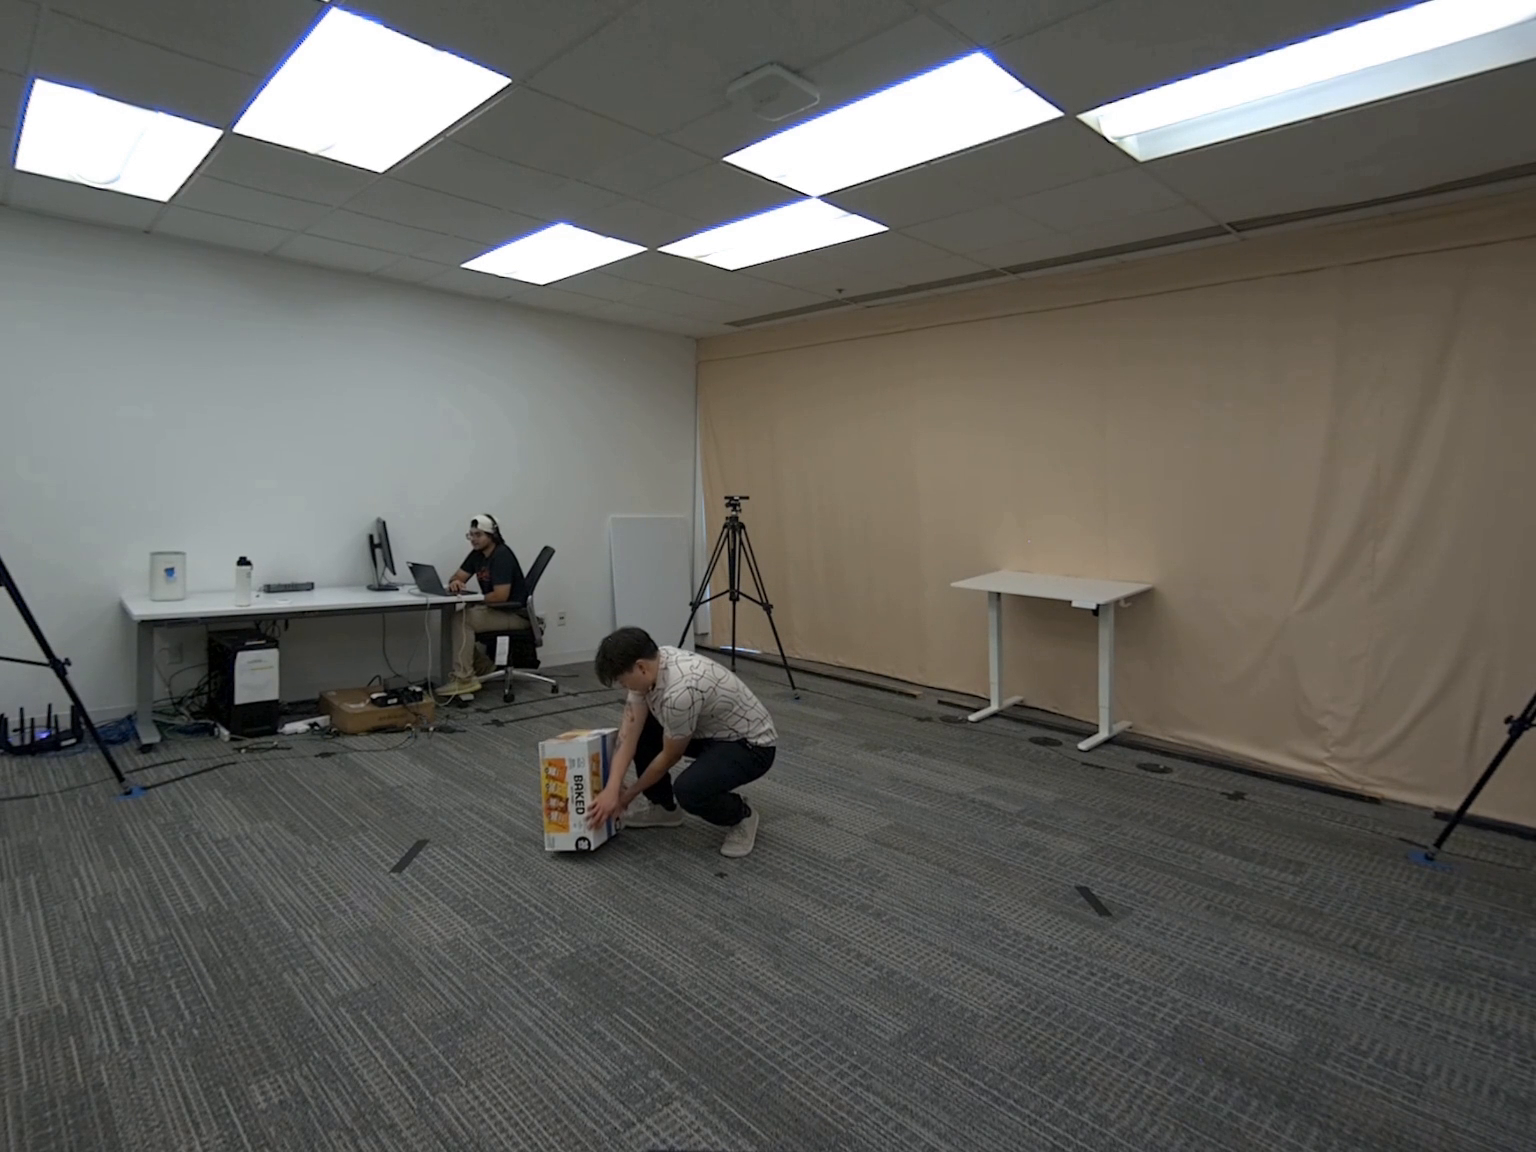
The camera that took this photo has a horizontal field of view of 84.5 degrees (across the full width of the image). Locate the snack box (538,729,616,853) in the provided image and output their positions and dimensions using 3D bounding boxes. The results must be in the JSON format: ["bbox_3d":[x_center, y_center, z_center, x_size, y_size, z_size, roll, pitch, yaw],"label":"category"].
[{"bbox_3d":[-0.739,0.834,3.351,0.207,0.407,0.336,-5,-4,11],"label":"snack box"}]
